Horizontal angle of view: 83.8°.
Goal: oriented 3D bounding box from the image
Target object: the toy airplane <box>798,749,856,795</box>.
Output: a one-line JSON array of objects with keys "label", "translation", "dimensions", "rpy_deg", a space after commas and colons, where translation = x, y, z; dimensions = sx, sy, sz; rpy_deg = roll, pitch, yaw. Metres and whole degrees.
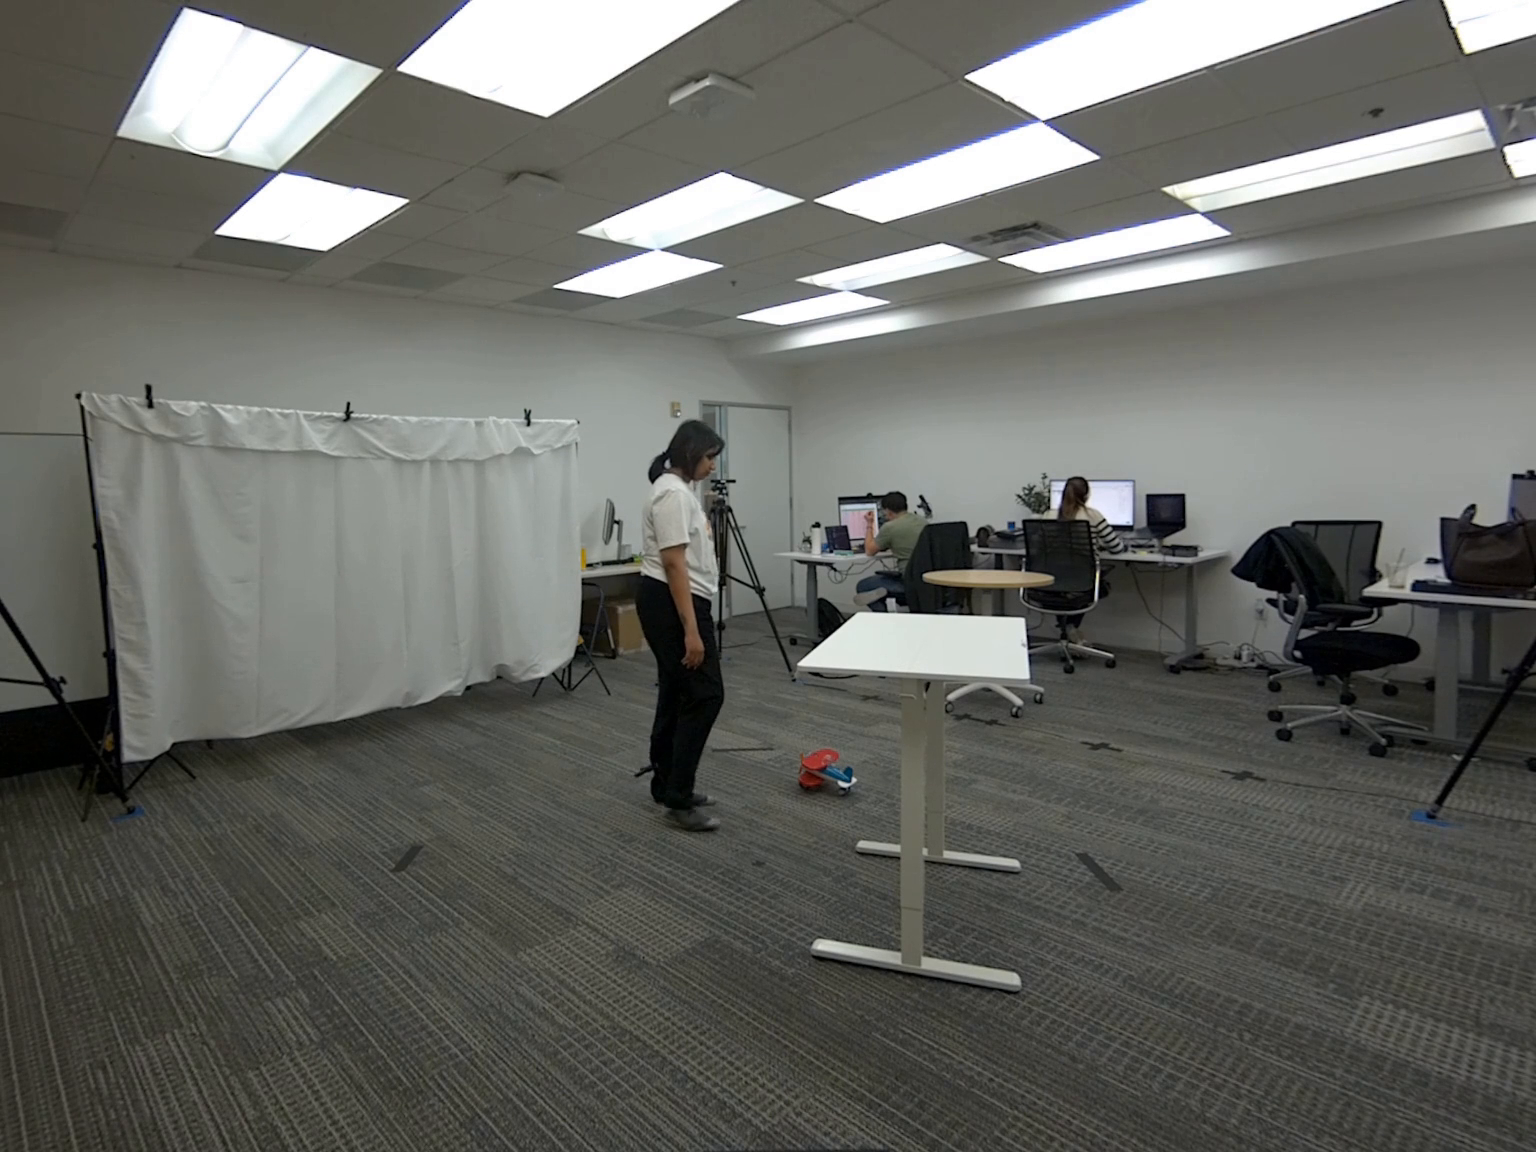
[{"label": "toy airplane", "translation": [0.264, 0.876, 3.843], "dimensions": [0.261, 0.156, 0.250], "rpy_deg": [0, 4, 7]}]
